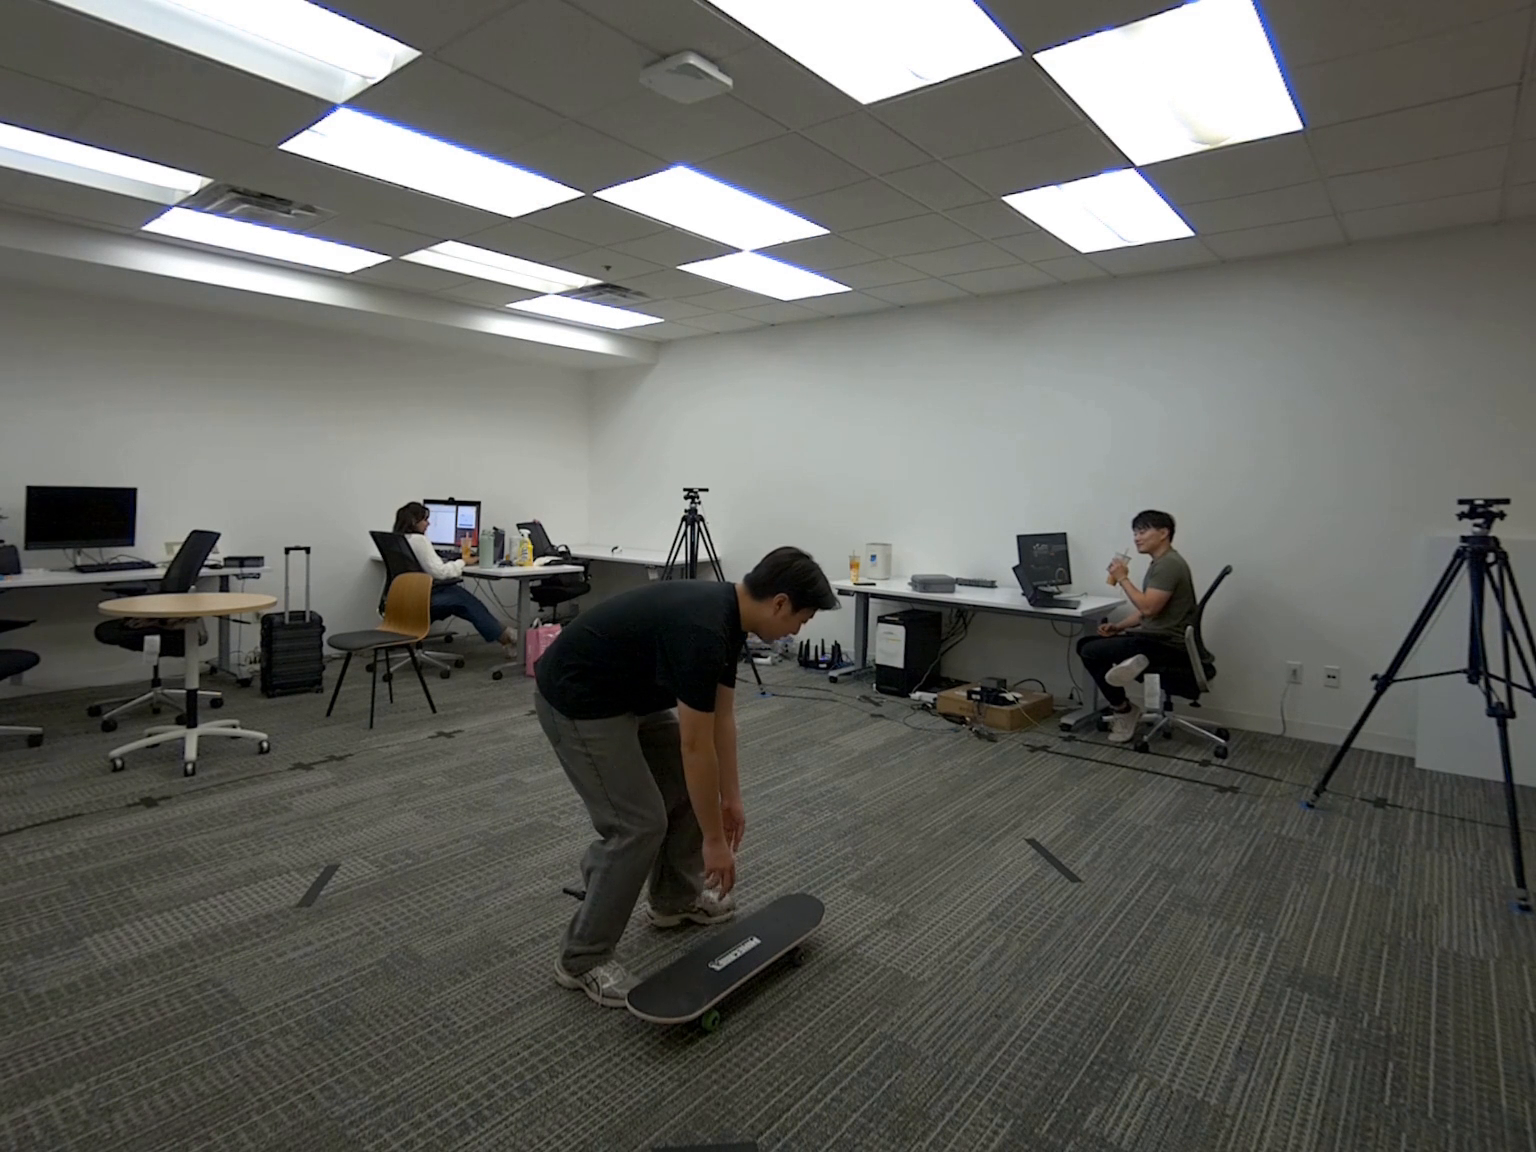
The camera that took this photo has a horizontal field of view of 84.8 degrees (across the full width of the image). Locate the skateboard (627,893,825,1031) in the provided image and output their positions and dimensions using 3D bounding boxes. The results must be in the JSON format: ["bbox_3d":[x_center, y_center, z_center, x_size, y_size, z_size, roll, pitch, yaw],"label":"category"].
[{"bbox_3d":[-0.097,1.090,2.383,0.200,0.110,0.763,6,8,38],"label":"skateboard"}]
